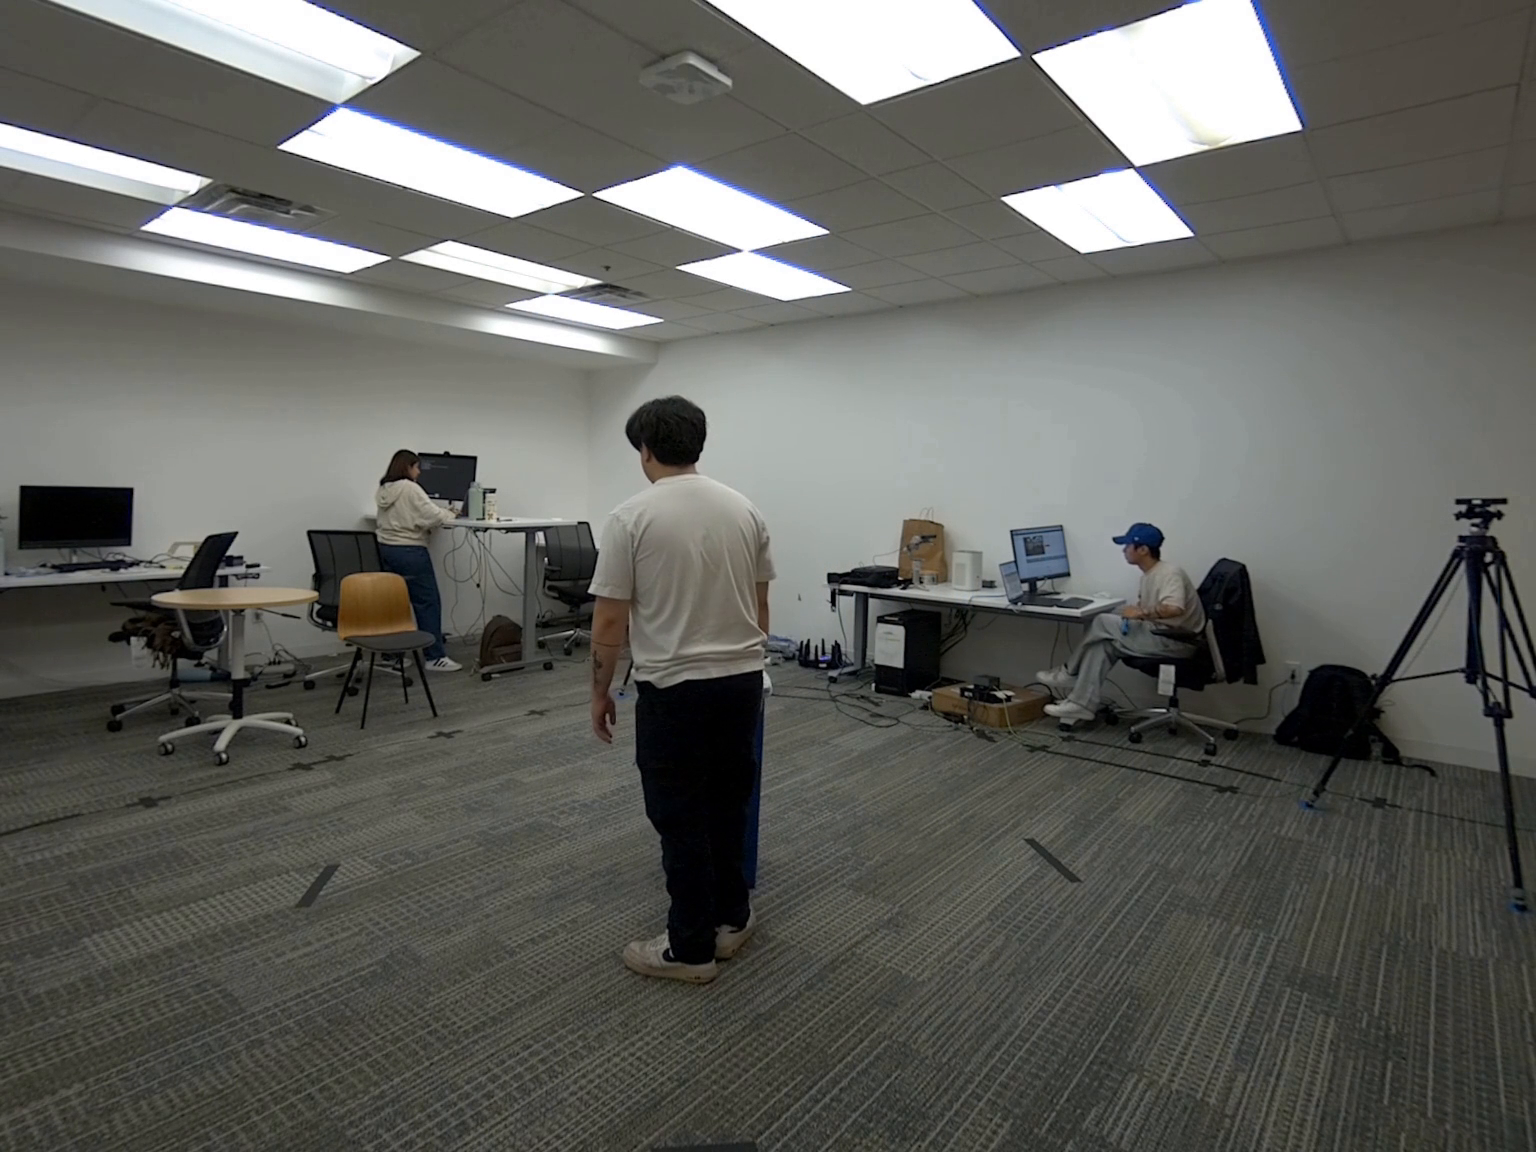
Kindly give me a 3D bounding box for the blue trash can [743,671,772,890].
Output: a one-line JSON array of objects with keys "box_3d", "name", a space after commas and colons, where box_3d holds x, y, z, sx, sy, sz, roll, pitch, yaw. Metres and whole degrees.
[{"box_3d": [-0.212, 0.712, 3.085, 0.376, 0.711, 0.377, 1, 3, -5], "name": "blue trash can"}]
